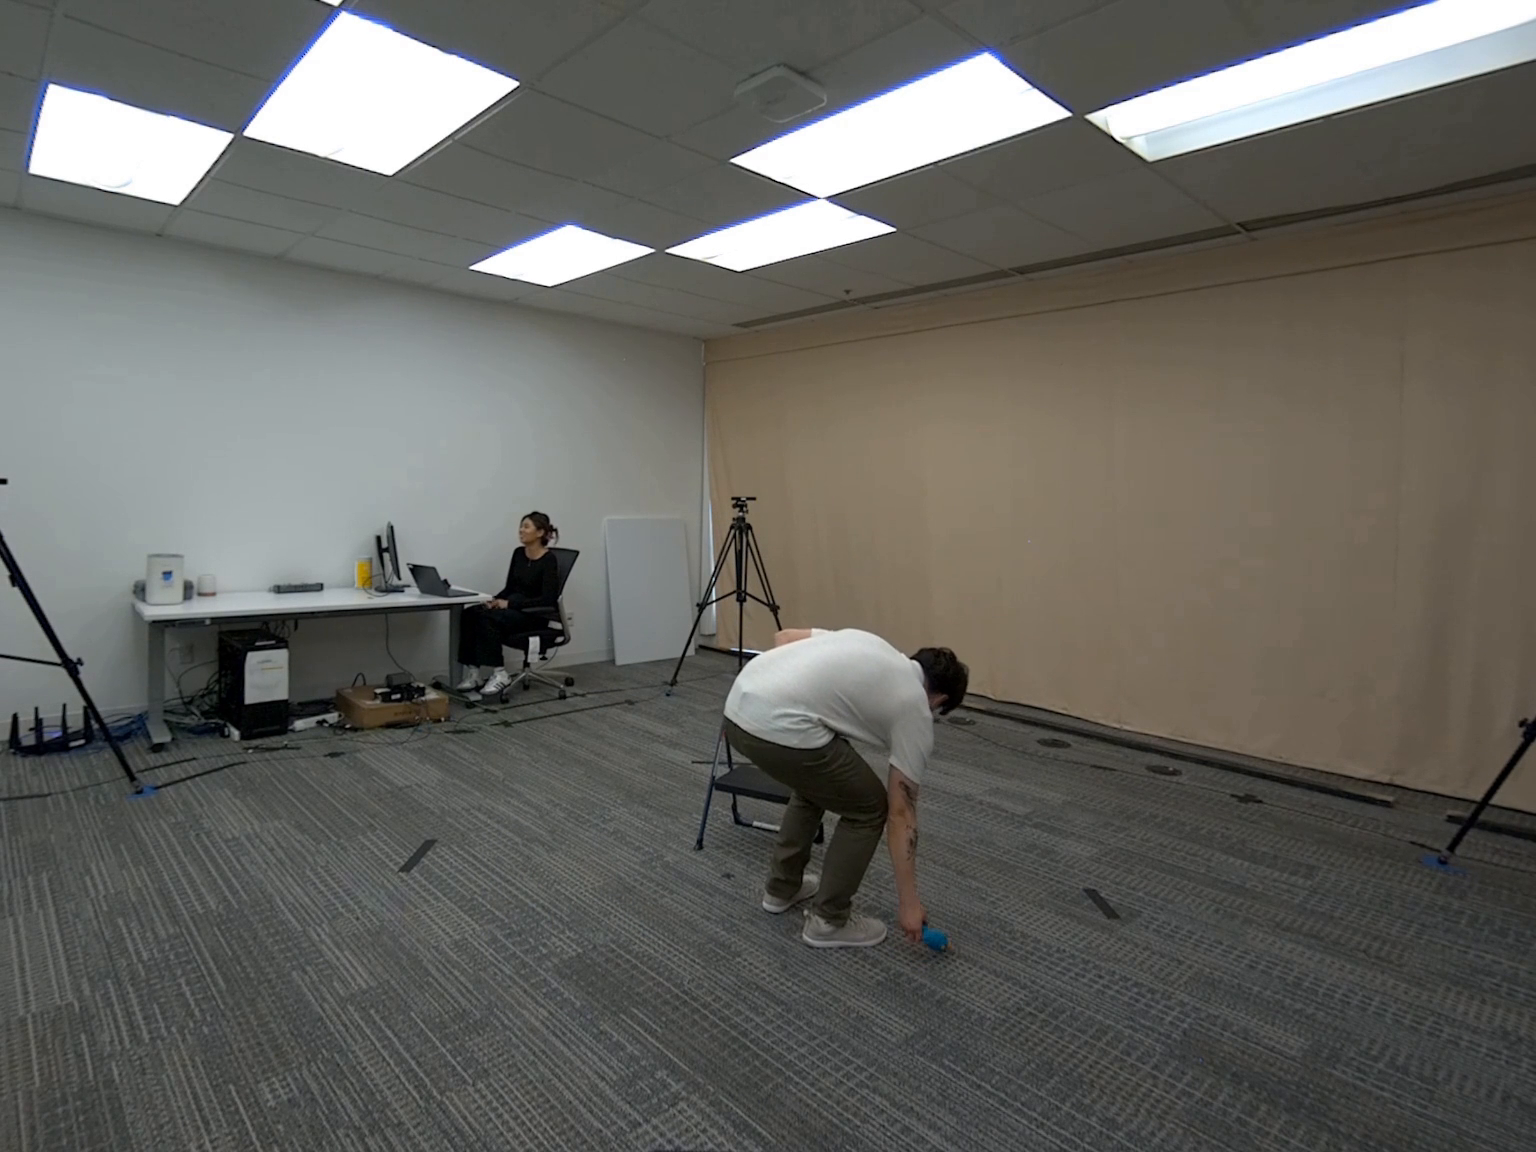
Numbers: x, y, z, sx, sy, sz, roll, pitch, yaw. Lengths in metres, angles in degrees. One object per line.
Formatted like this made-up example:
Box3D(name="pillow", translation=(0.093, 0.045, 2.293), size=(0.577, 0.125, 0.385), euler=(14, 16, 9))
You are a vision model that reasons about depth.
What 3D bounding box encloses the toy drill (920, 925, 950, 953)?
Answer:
Box3D(name="toy drill", translation=(0.499, 1.108, 2.602), size=(0.165, 0.061, 0.150), euler=(32, -4, -37))
